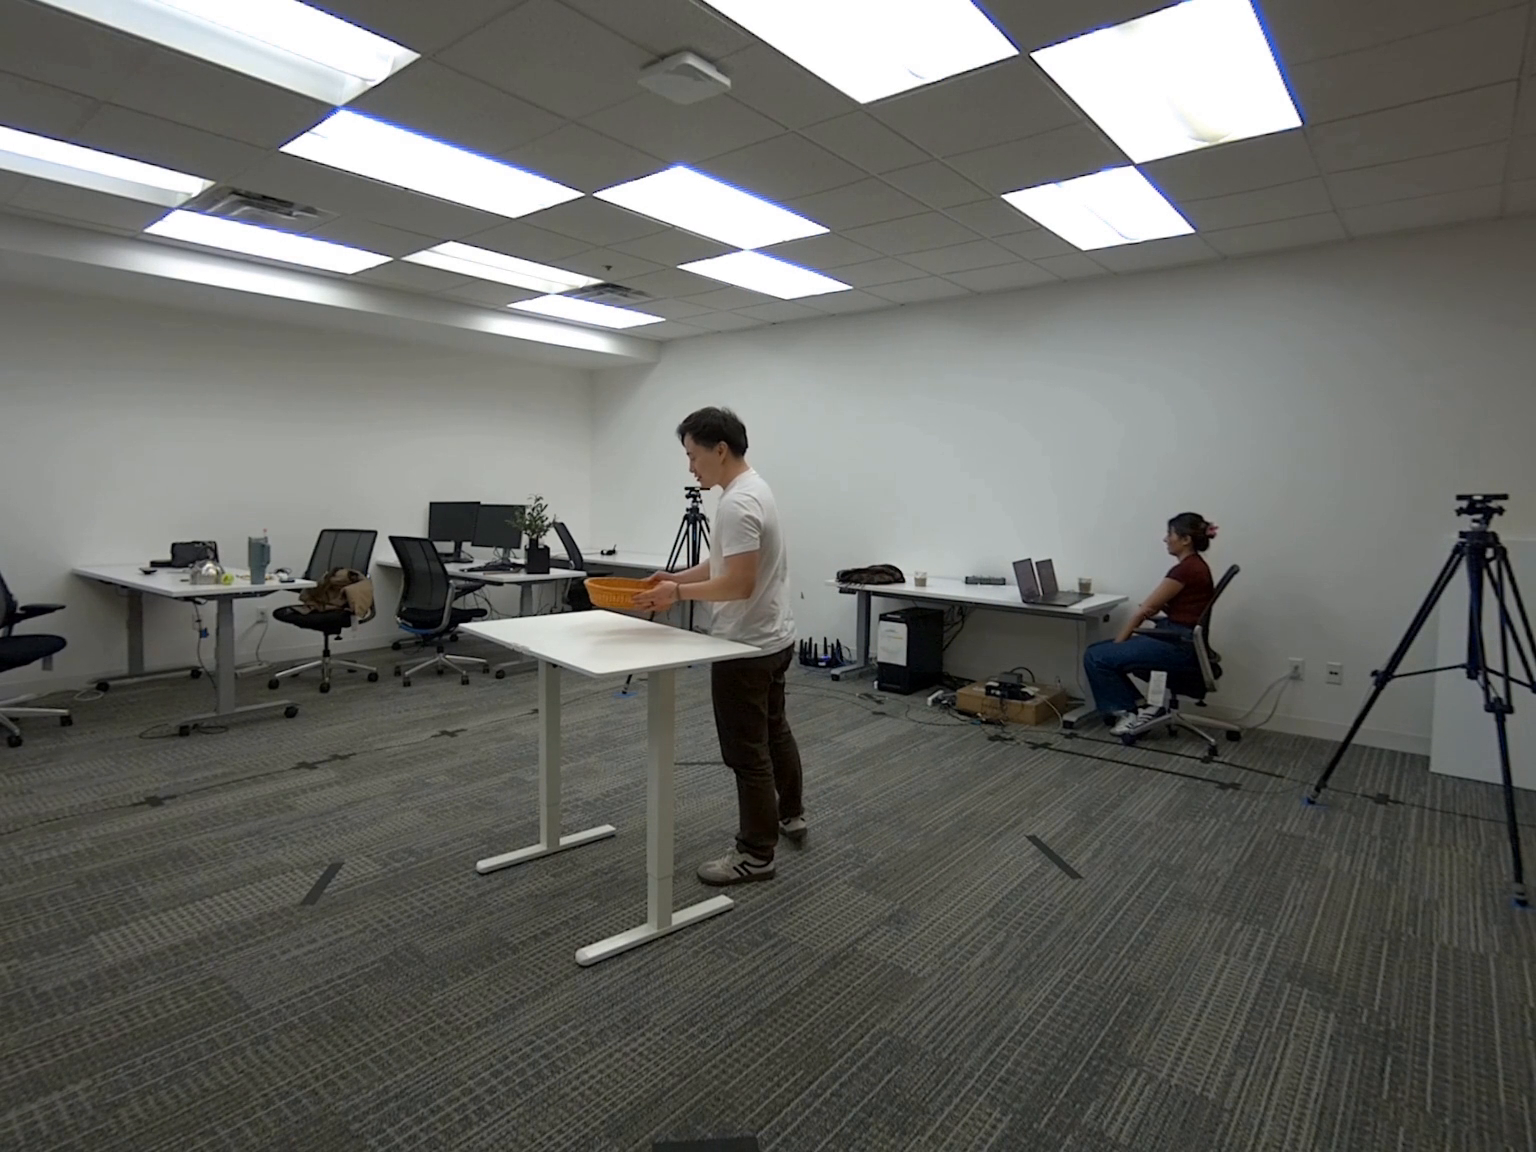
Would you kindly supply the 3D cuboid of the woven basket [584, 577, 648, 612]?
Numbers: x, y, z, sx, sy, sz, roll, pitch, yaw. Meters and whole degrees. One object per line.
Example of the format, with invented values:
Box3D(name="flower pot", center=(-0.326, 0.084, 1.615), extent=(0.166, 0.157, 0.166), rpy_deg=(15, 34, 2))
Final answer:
Box3D(name="woven basket", center=(-0.477, 0.072, 2.986), extent=(0.349, 0.073, 0.255), rpy_deg=(5, 9, -3))
